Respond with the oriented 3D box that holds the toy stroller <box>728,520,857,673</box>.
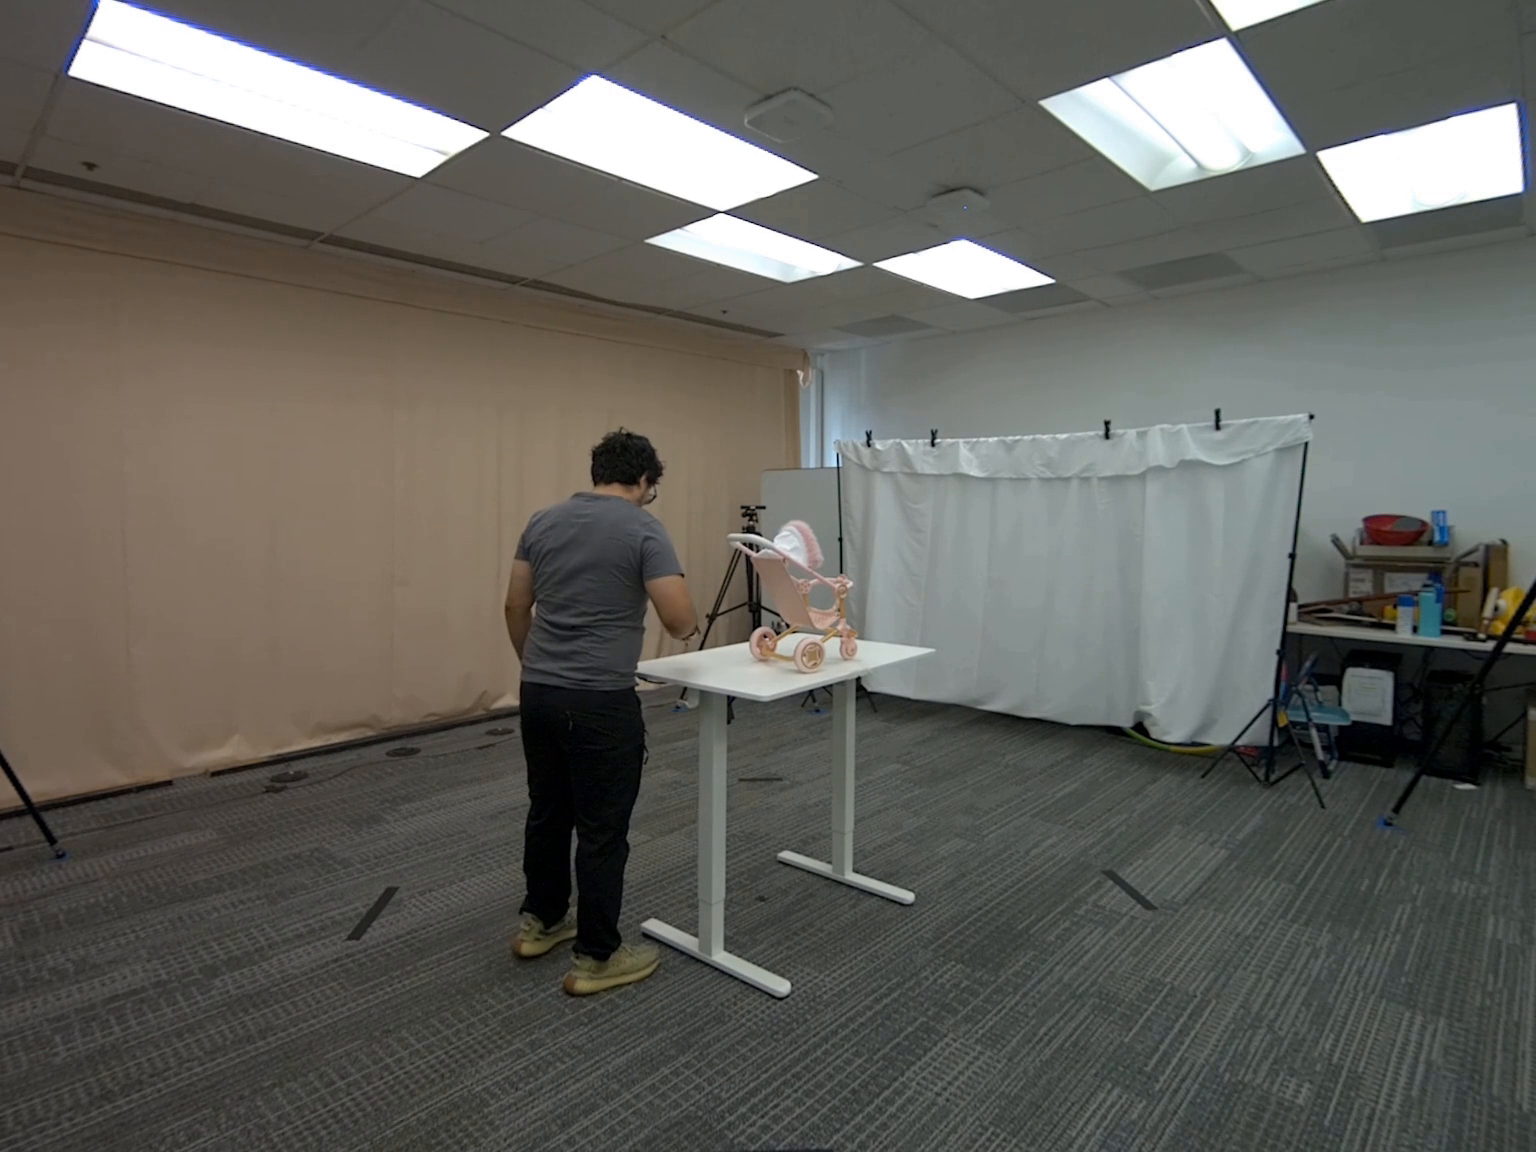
[{"bbox_3d":[0.112,0.063,2.679,0.335,0.530,0.289,-20,11,-26],"label":"toy stroller"}]
